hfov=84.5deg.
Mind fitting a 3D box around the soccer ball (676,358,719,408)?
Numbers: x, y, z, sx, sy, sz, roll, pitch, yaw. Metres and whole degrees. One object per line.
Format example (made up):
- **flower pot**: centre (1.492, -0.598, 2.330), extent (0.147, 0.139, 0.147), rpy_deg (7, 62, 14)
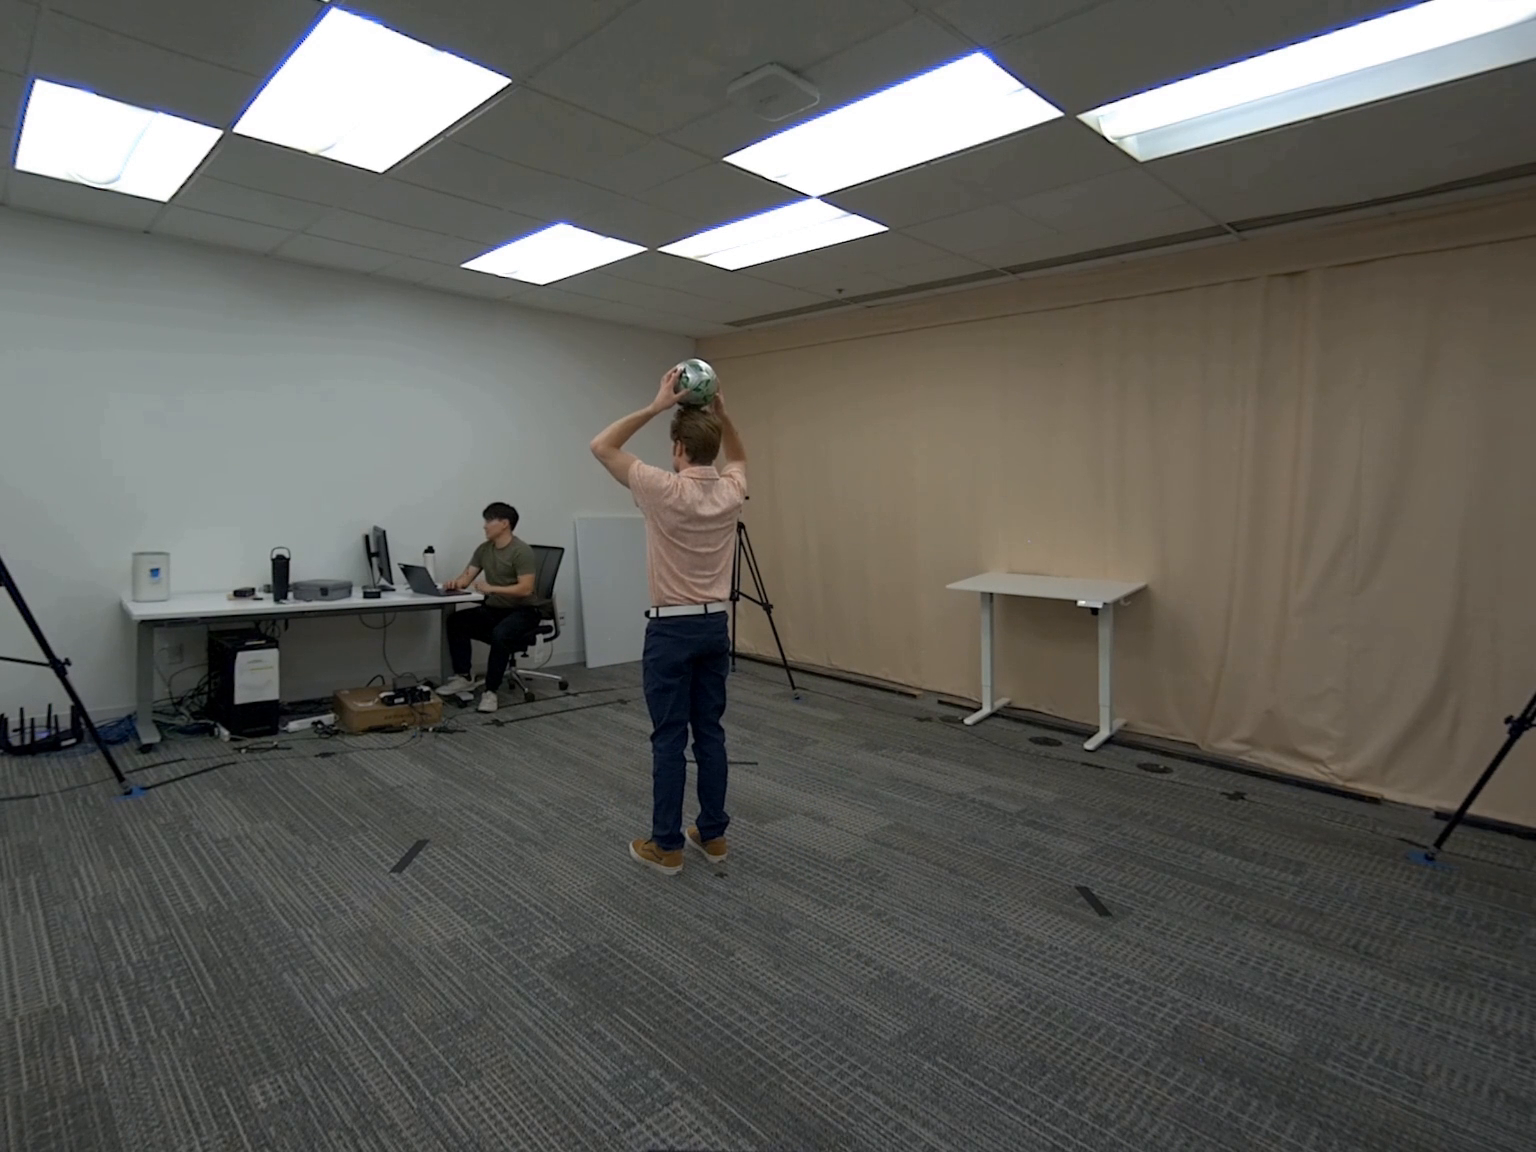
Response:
- **soccer ball**: centre (-0.291, -0.724, 3.174), extent (0.187, 0.187, 0.188), rpy_deg (1, 4, -1)
